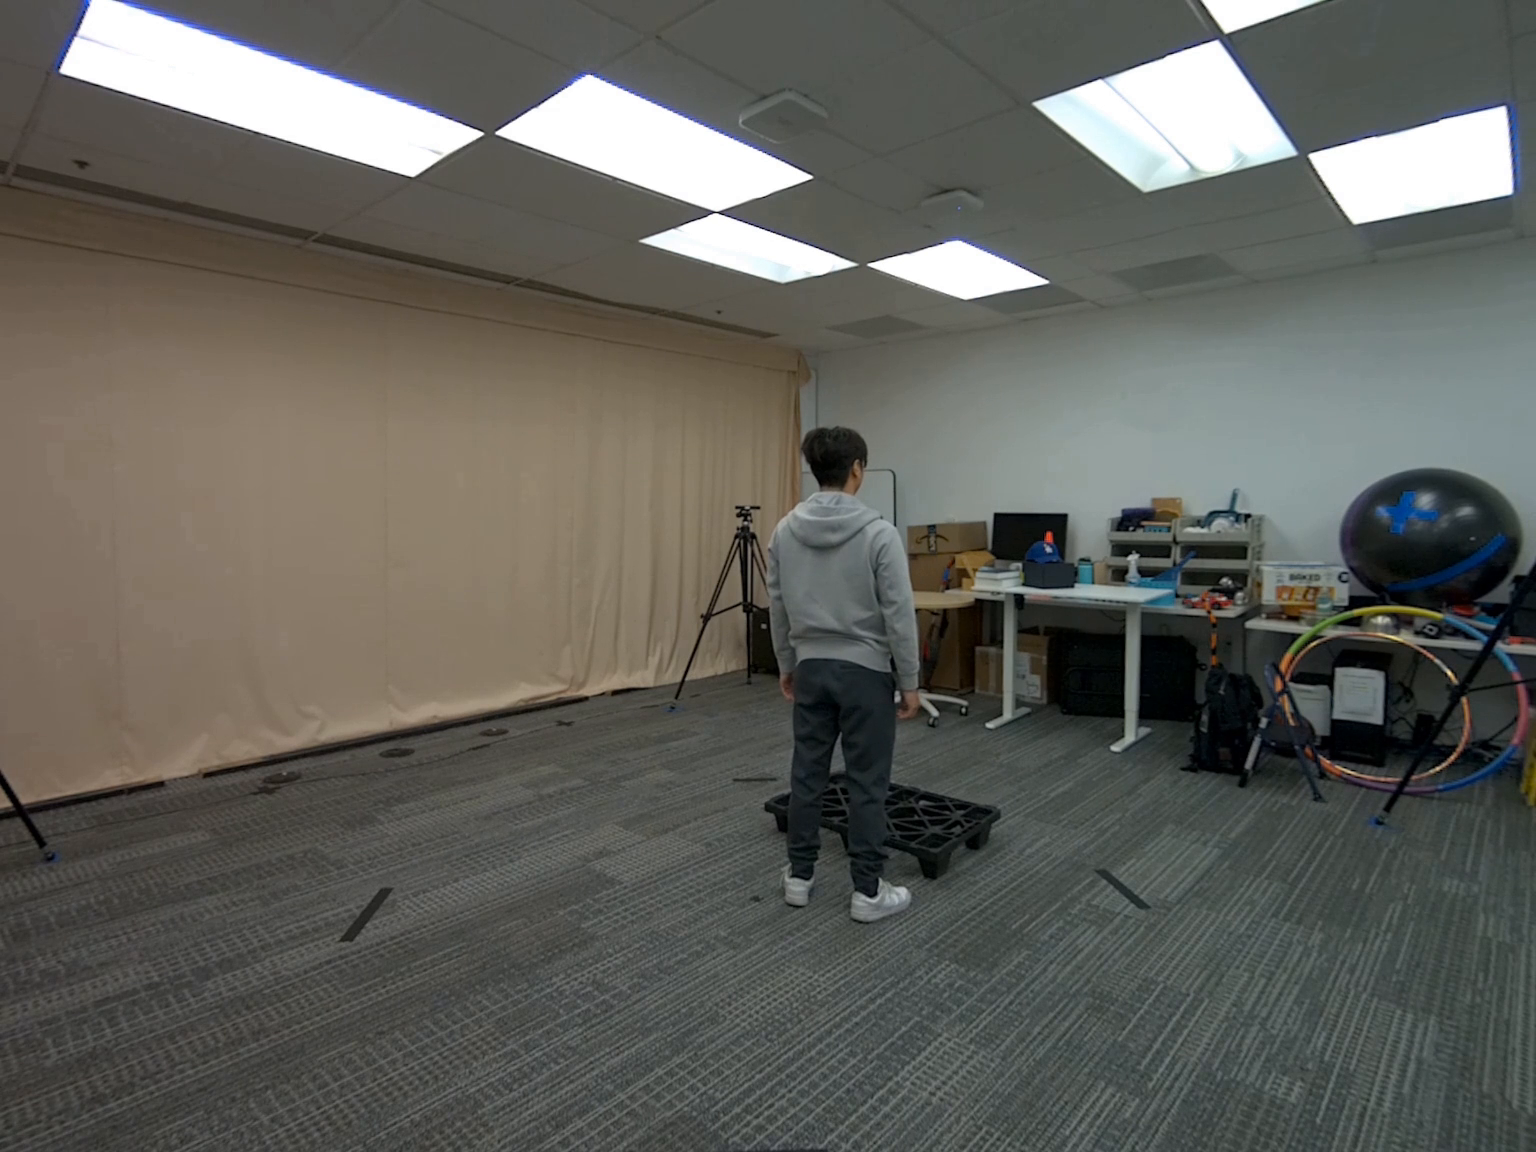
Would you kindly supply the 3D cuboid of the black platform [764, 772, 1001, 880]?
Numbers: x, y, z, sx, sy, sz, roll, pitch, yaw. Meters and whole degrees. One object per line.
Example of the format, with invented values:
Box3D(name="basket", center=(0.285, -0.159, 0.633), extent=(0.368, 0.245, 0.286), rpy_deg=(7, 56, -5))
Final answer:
Box3D(name="black platform", center=(0.476, 1.031, 3.529), extent=(0.832, 0.143, 0.587), rpy_deg=(3, 6, 39))
